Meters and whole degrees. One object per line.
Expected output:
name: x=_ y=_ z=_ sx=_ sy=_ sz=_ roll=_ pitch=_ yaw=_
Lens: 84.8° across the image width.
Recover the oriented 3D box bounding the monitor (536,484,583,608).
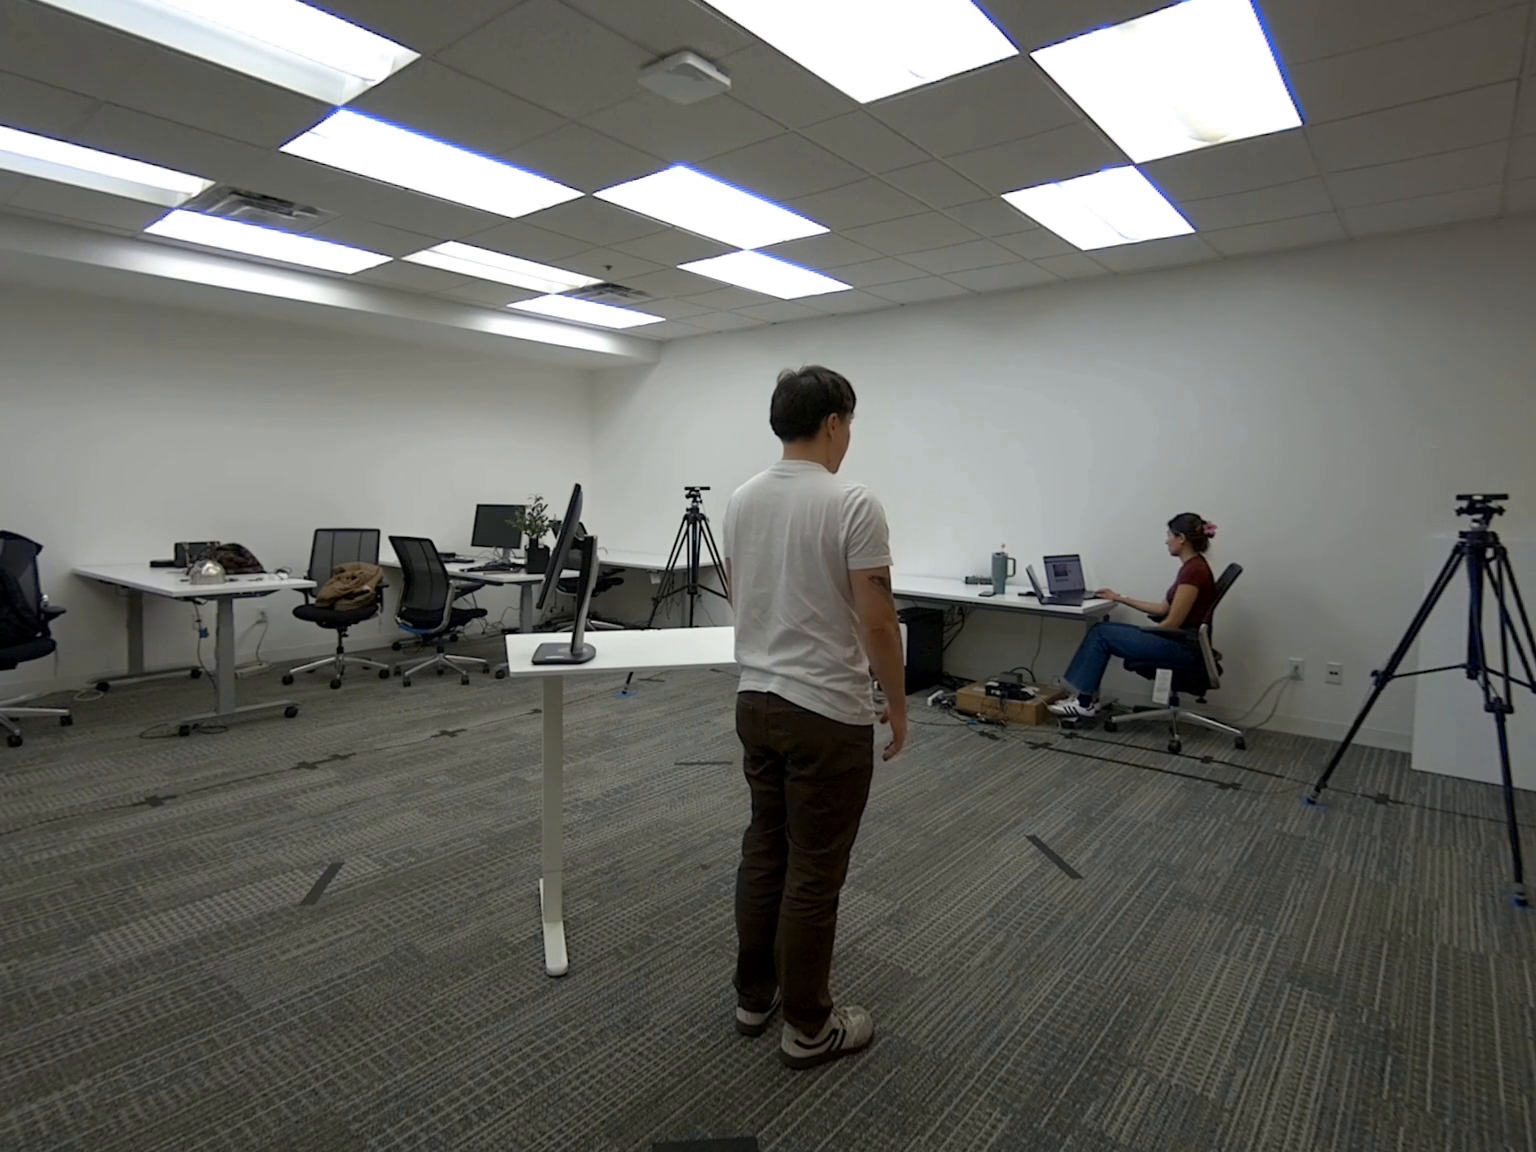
monitor: x=-0.608 y=-0.016 z=2.535 sx=0.185 sy=0.521 sz=0.548 roll=3 pitch=4 yaw=-13
